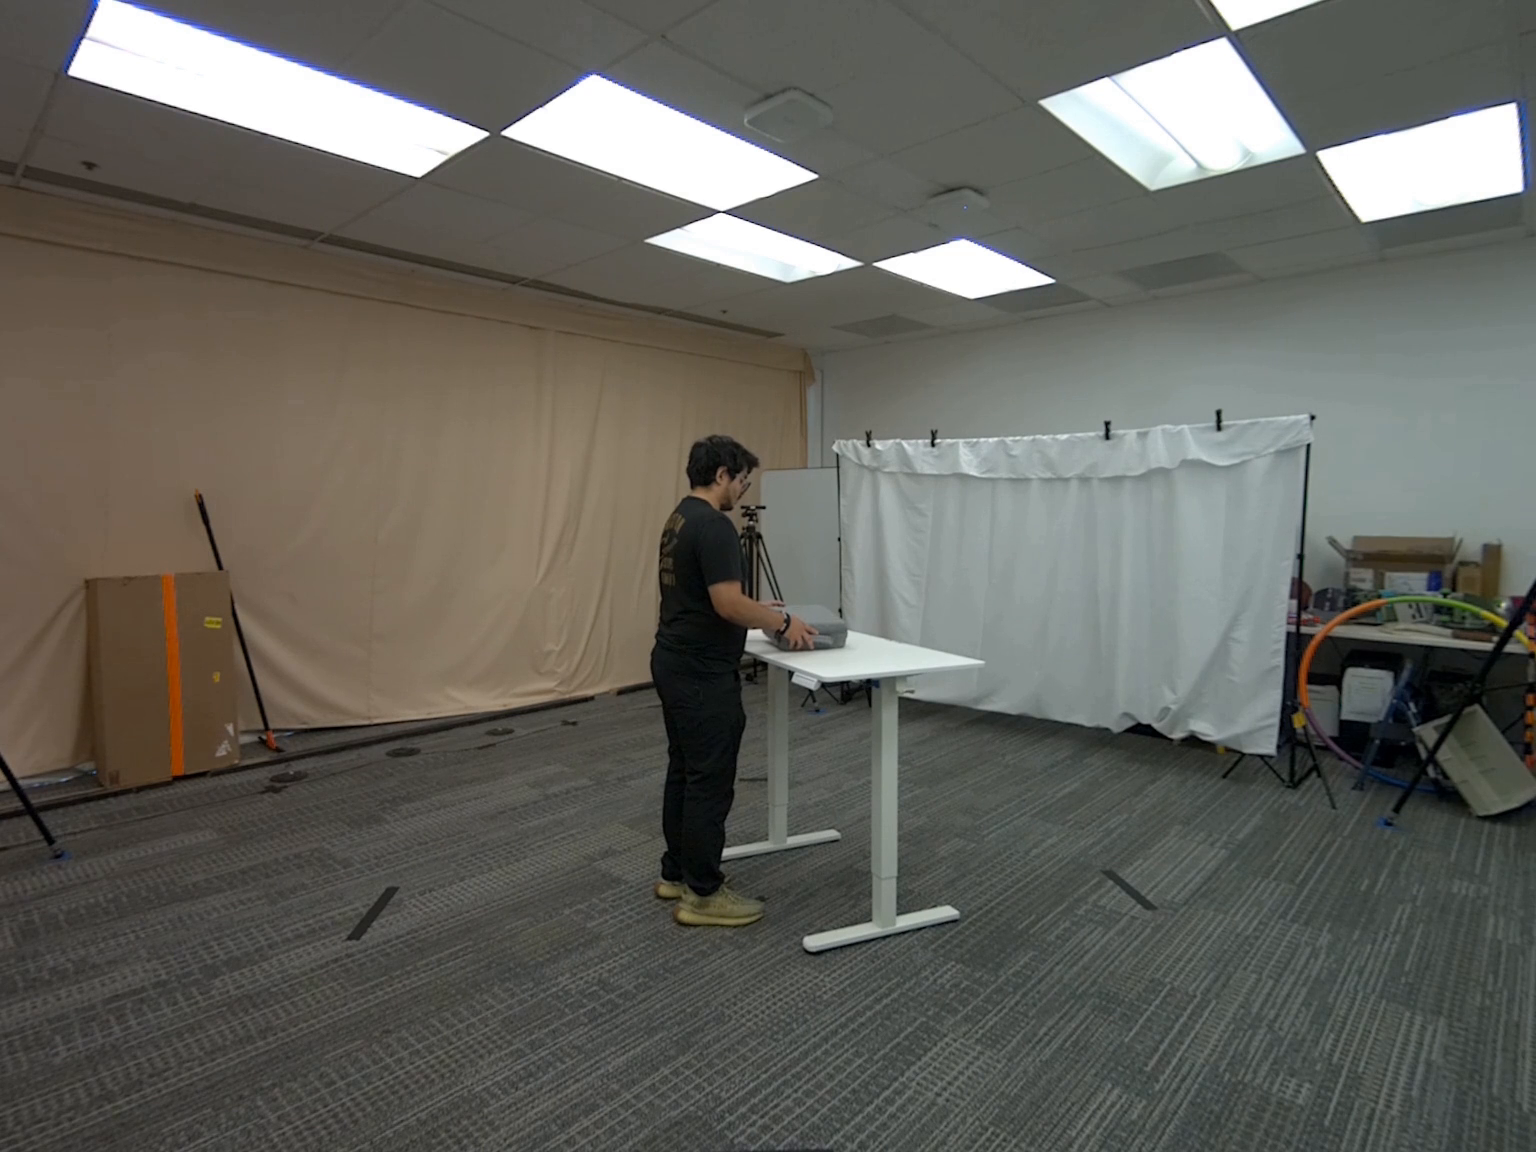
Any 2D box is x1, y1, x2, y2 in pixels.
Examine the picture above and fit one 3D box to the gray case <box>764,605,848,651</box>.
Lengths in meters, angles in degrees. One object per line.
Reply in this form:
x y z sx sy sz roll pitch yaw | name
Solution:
0.139 0.190 3.071 0.252 0.103 0.267 -2 12 -17 | gray case
